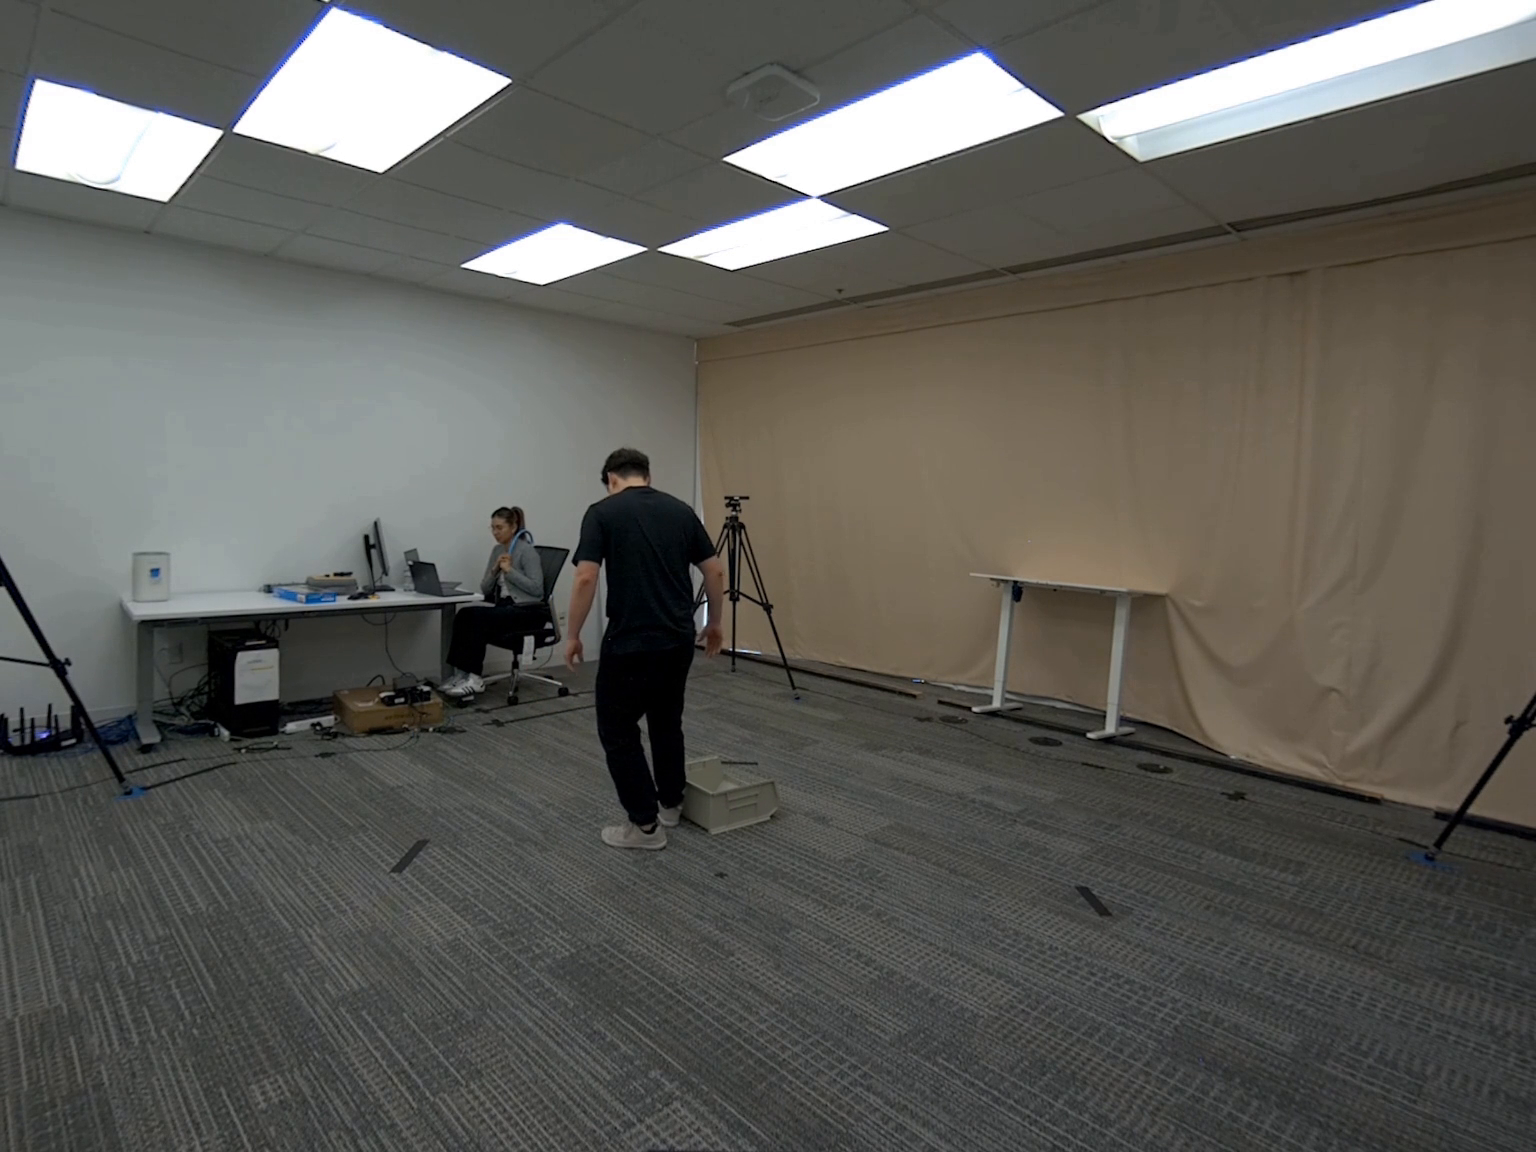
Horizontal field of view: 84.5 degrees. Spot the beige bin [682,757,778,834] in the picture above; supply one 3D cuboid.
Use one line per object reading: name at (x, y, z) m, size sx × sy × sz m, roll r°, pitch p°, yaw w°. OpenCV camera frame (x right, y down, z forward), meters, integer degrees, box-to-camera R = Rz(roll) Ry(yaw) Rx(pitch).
beige bin at (-0.229, 0.961, 3.741) m, size 0.369 × 0.188 × 0.433 m, roll -3°, pitch 7°, yaw -39°
